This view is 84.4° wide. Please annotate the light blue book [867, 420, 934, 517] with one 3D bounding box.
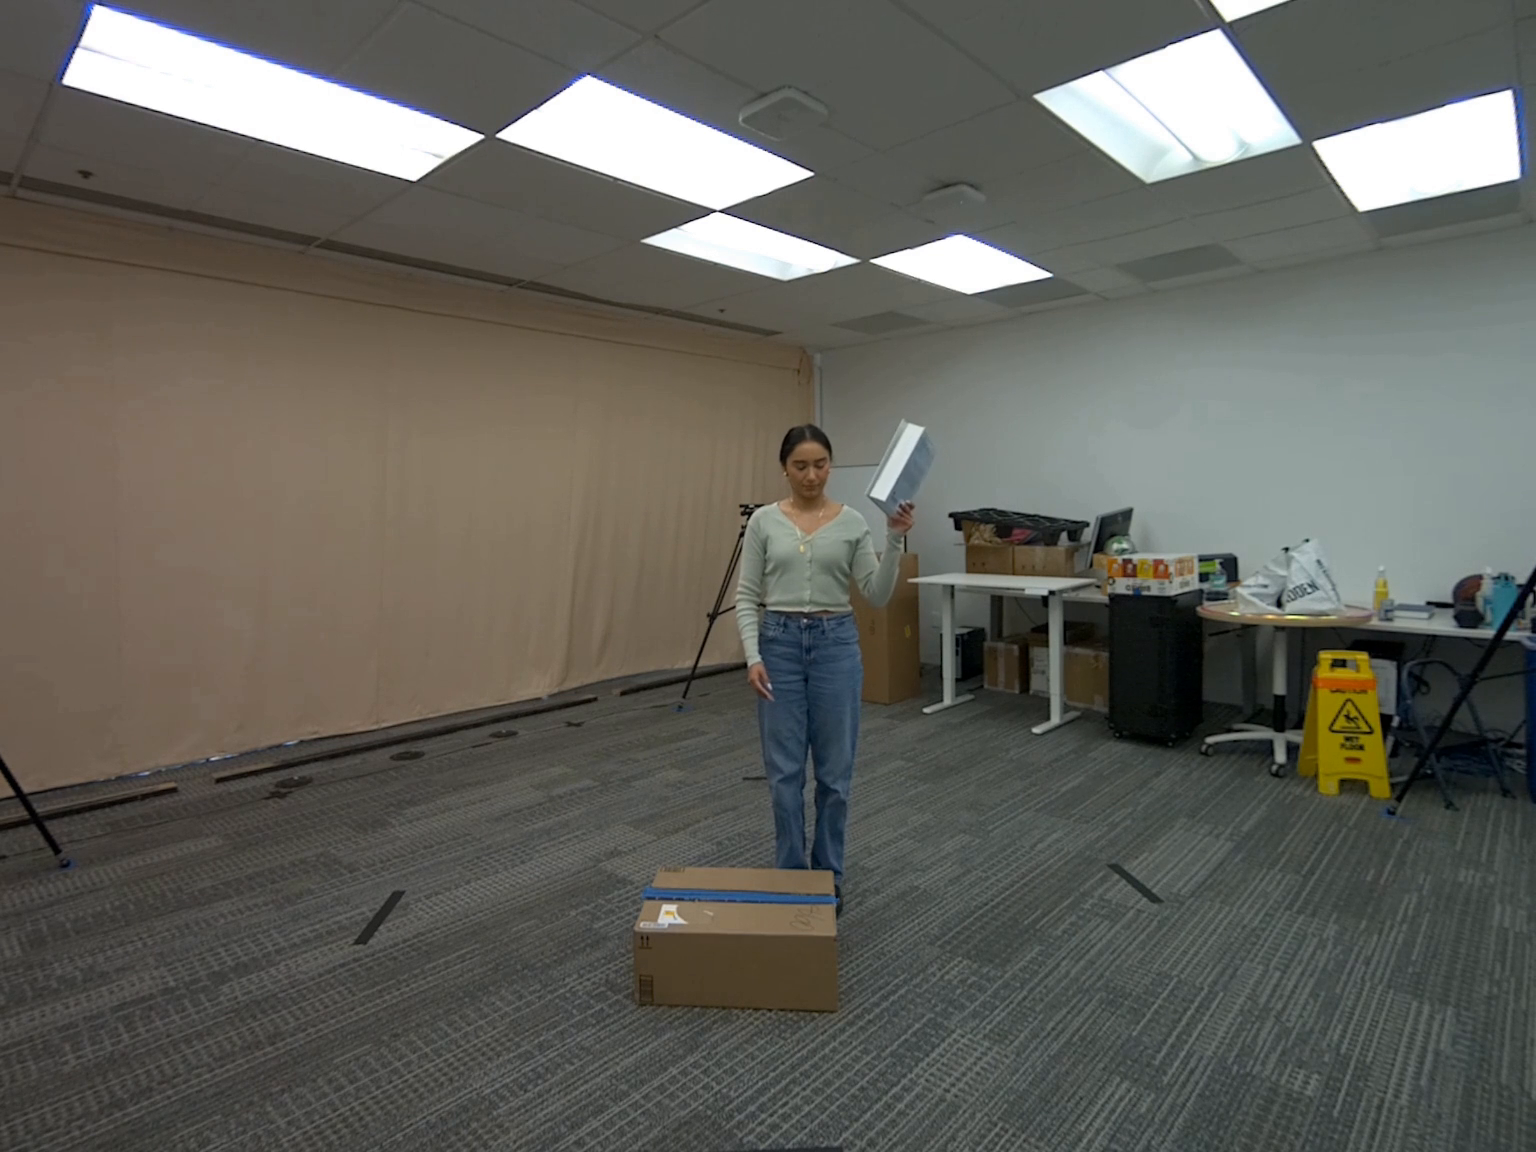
[{"bbox_3d":[0.426,-0.323,2.622,0.061,0.261,0.185,26,-3,32],"label":"light blue book"}]
